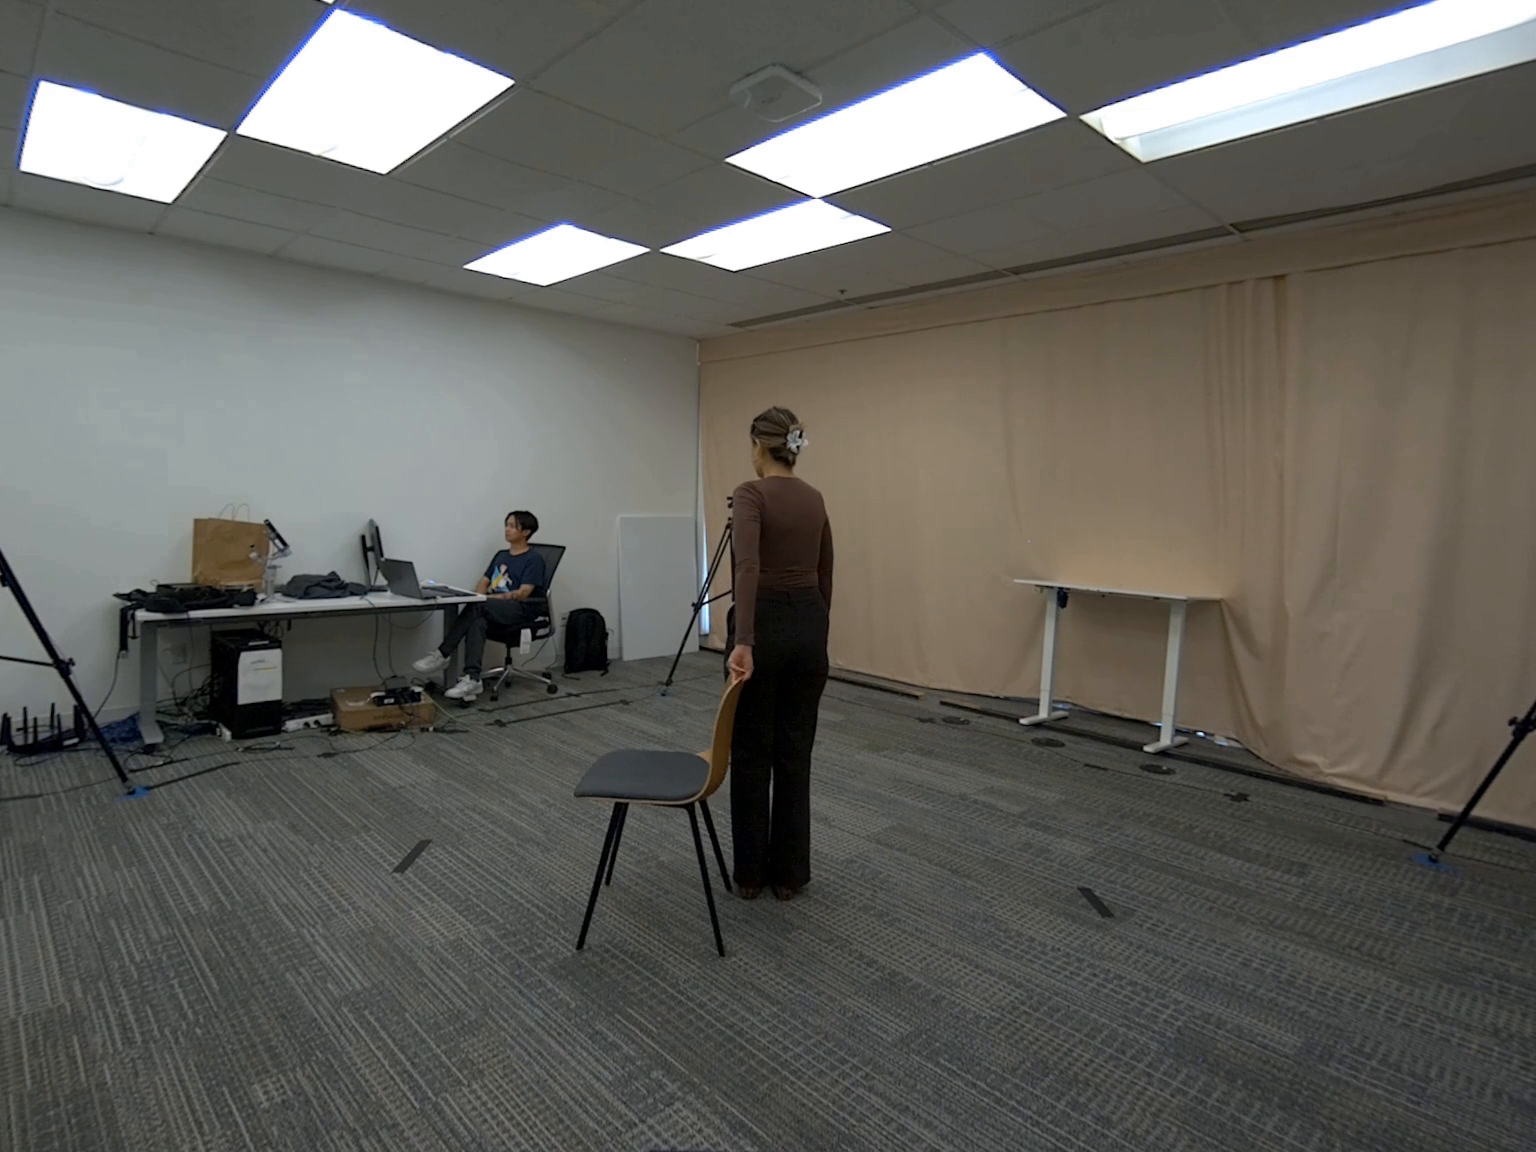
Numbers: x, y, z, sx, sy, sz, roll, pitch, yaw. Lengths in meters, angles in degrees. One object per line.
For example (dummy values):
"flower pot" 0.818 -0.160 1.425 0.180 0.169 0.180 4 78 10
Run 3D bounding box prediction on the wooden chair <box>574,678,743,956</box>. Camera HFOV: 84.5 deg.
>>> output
"wooden chair" -0.362 0.701 2.753 0.524 0.875 0.479 5 4 1
